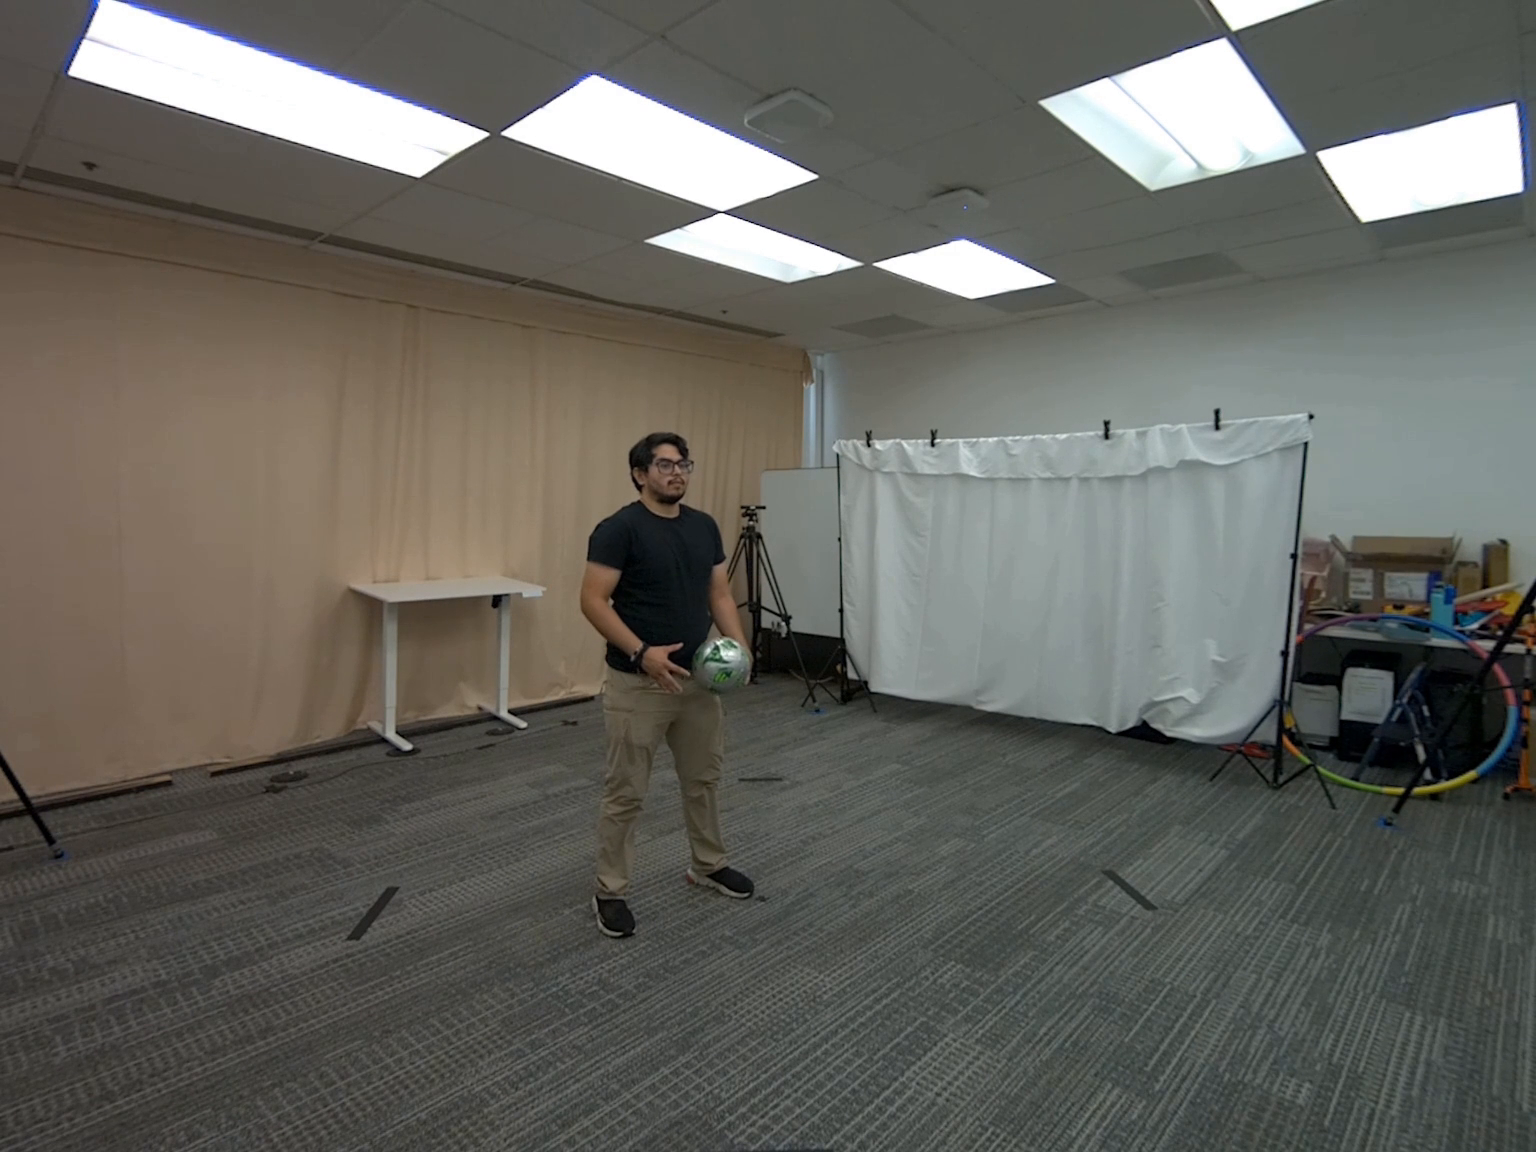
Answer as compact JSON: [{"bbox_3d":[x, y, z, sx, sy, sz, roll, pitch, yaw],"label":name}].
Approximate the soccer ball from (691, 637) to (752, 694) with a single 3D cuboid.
[{"bbox_3d":[-0.154,0.286,2.711,0.187,0.187,0.188,0,4,-2],"label":"soccer ball"}]
